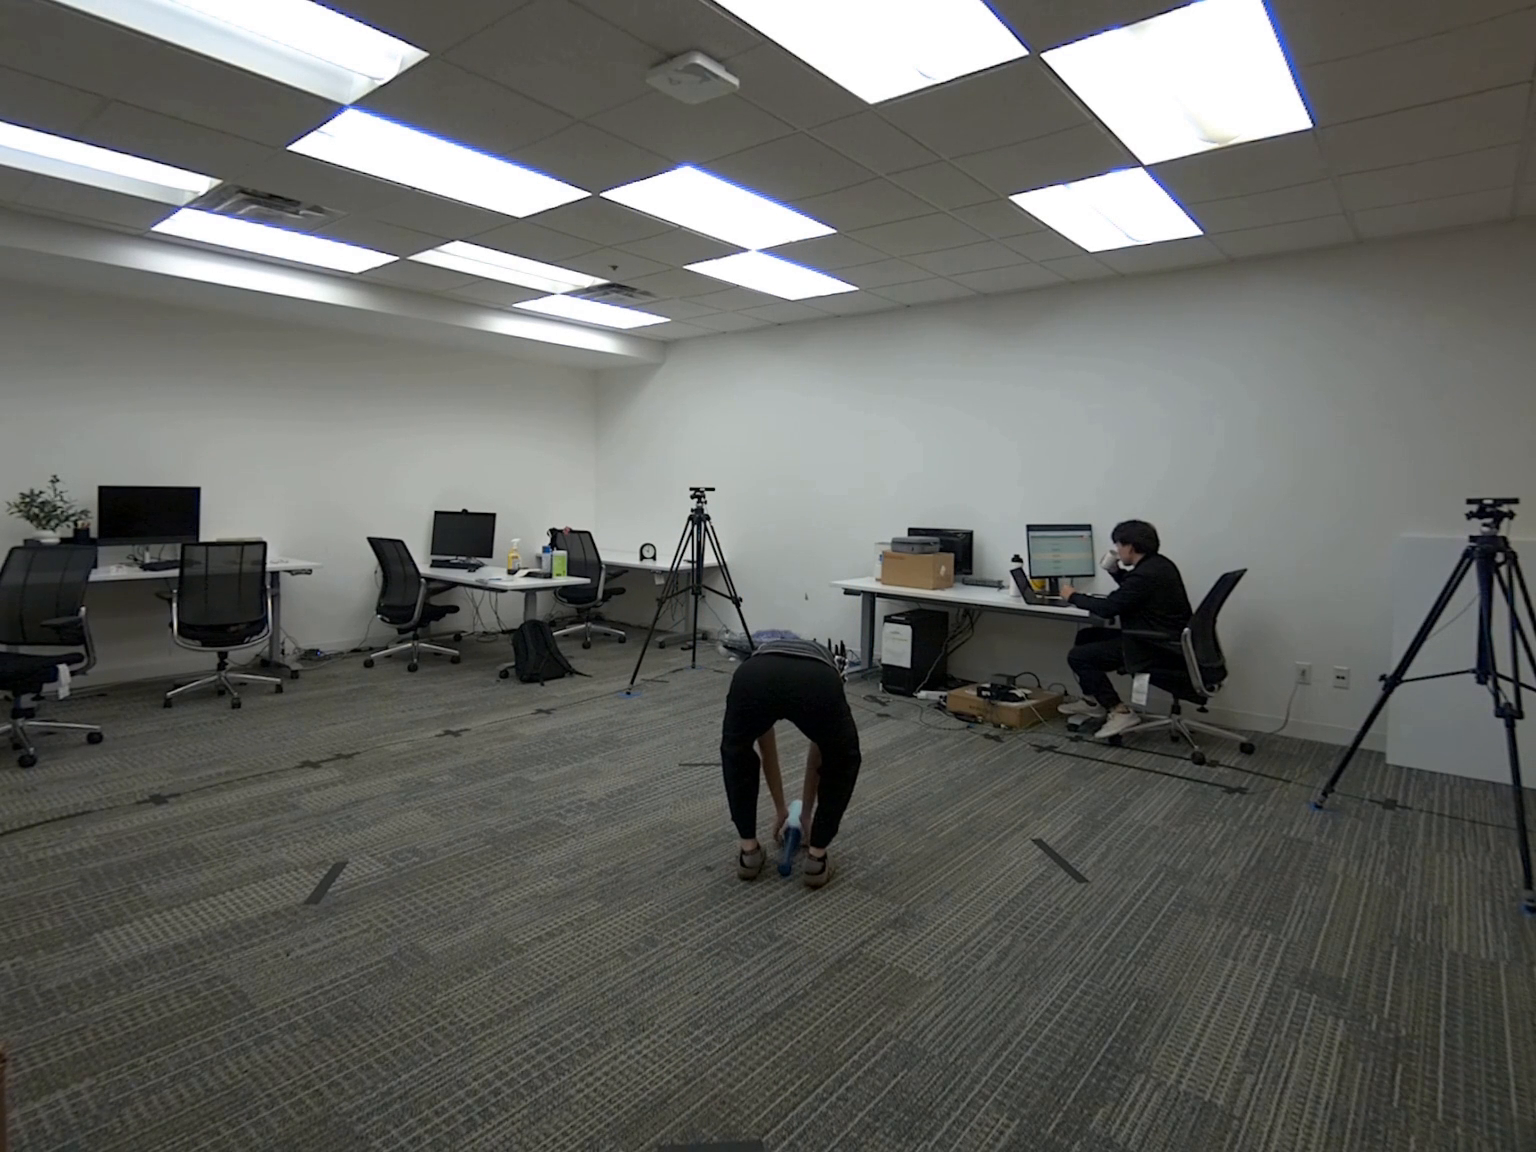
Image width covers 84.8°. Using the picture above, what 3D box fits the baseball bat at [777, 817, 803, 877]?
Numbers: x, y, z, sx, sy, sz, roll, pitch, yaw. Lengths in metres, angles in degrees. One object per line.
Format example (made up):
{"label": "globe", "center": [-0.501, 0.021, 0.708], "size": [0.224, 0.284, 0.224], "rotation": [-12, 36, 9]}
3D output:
{"label": "baseball bat", "center": [0.085, 1.018, 3.319], "size": [0.090, 0.088, 0.541], "rotation": [1, 8, 7]}
